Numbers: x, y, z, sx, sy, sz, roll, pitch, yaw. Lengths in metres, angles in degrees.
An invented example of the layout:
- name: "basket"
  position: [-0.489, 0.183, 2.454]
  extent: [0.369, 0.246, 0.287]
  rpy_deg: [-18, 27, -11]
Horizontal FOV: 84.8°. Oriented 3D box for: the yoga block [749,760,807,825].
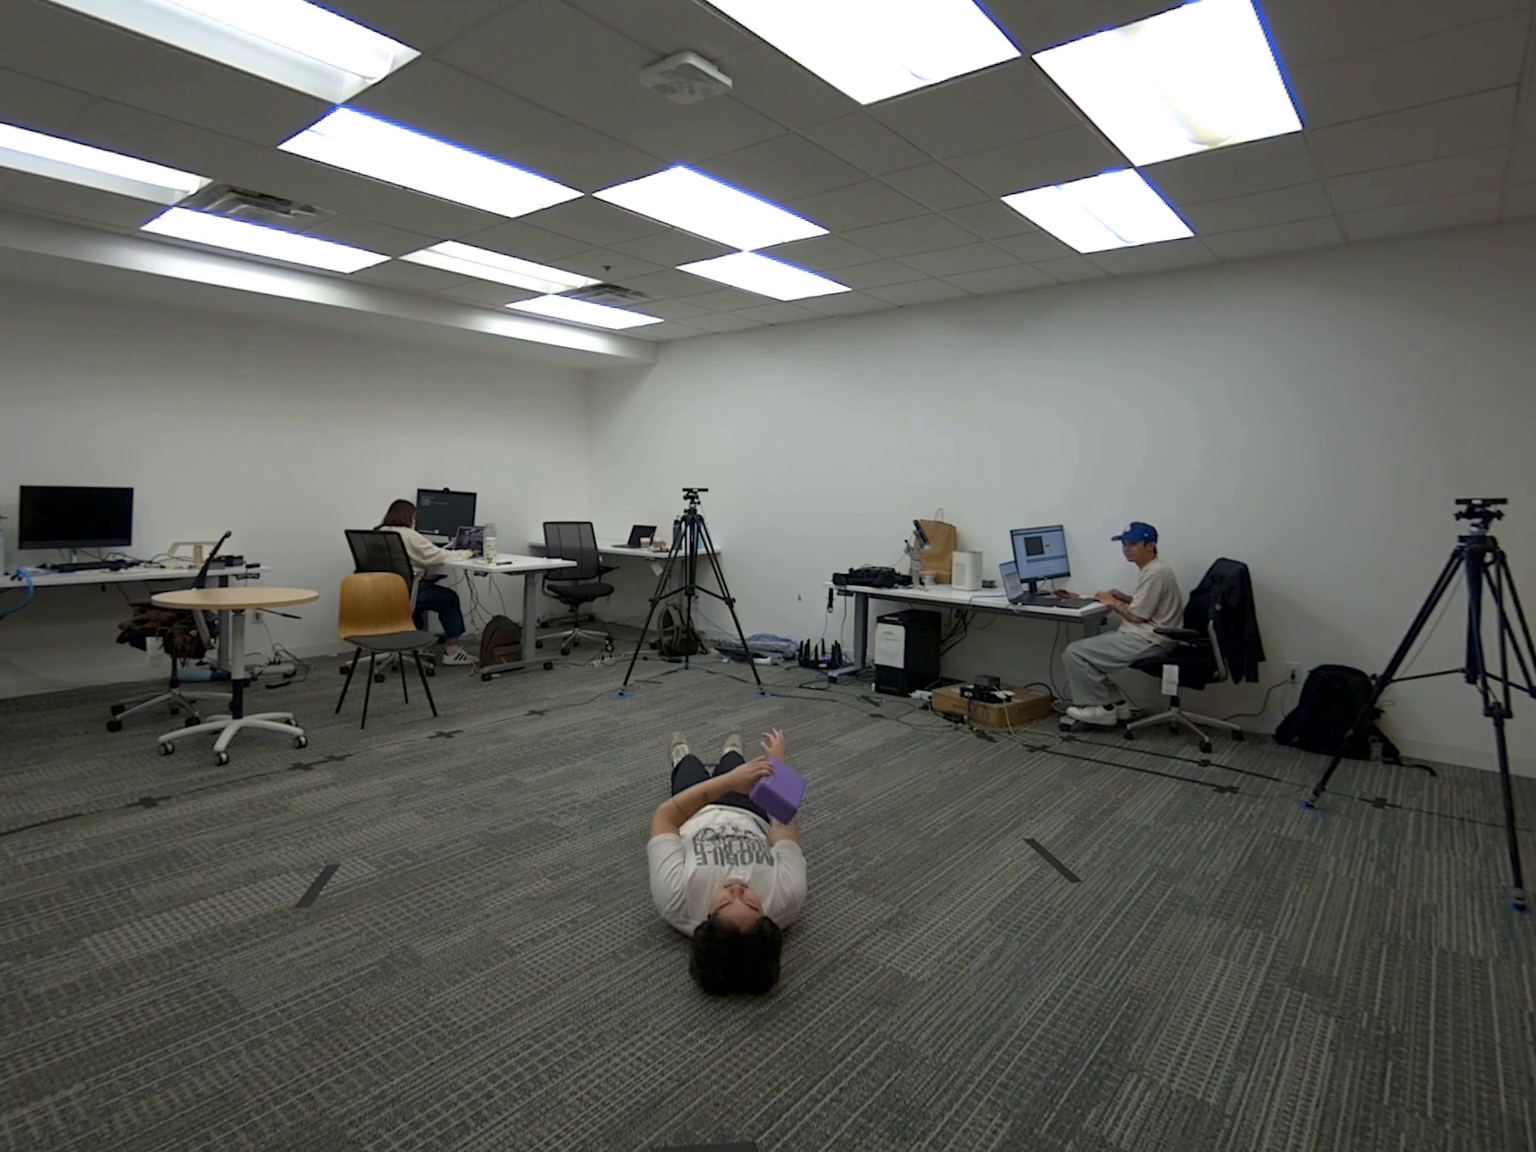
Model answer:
- name: "yoga block"
  position: [0.033, 0.701, 2.791]
  extent: [0.149, 0.076, 0.229]
  rpy_deg: [34, 15, 1]
